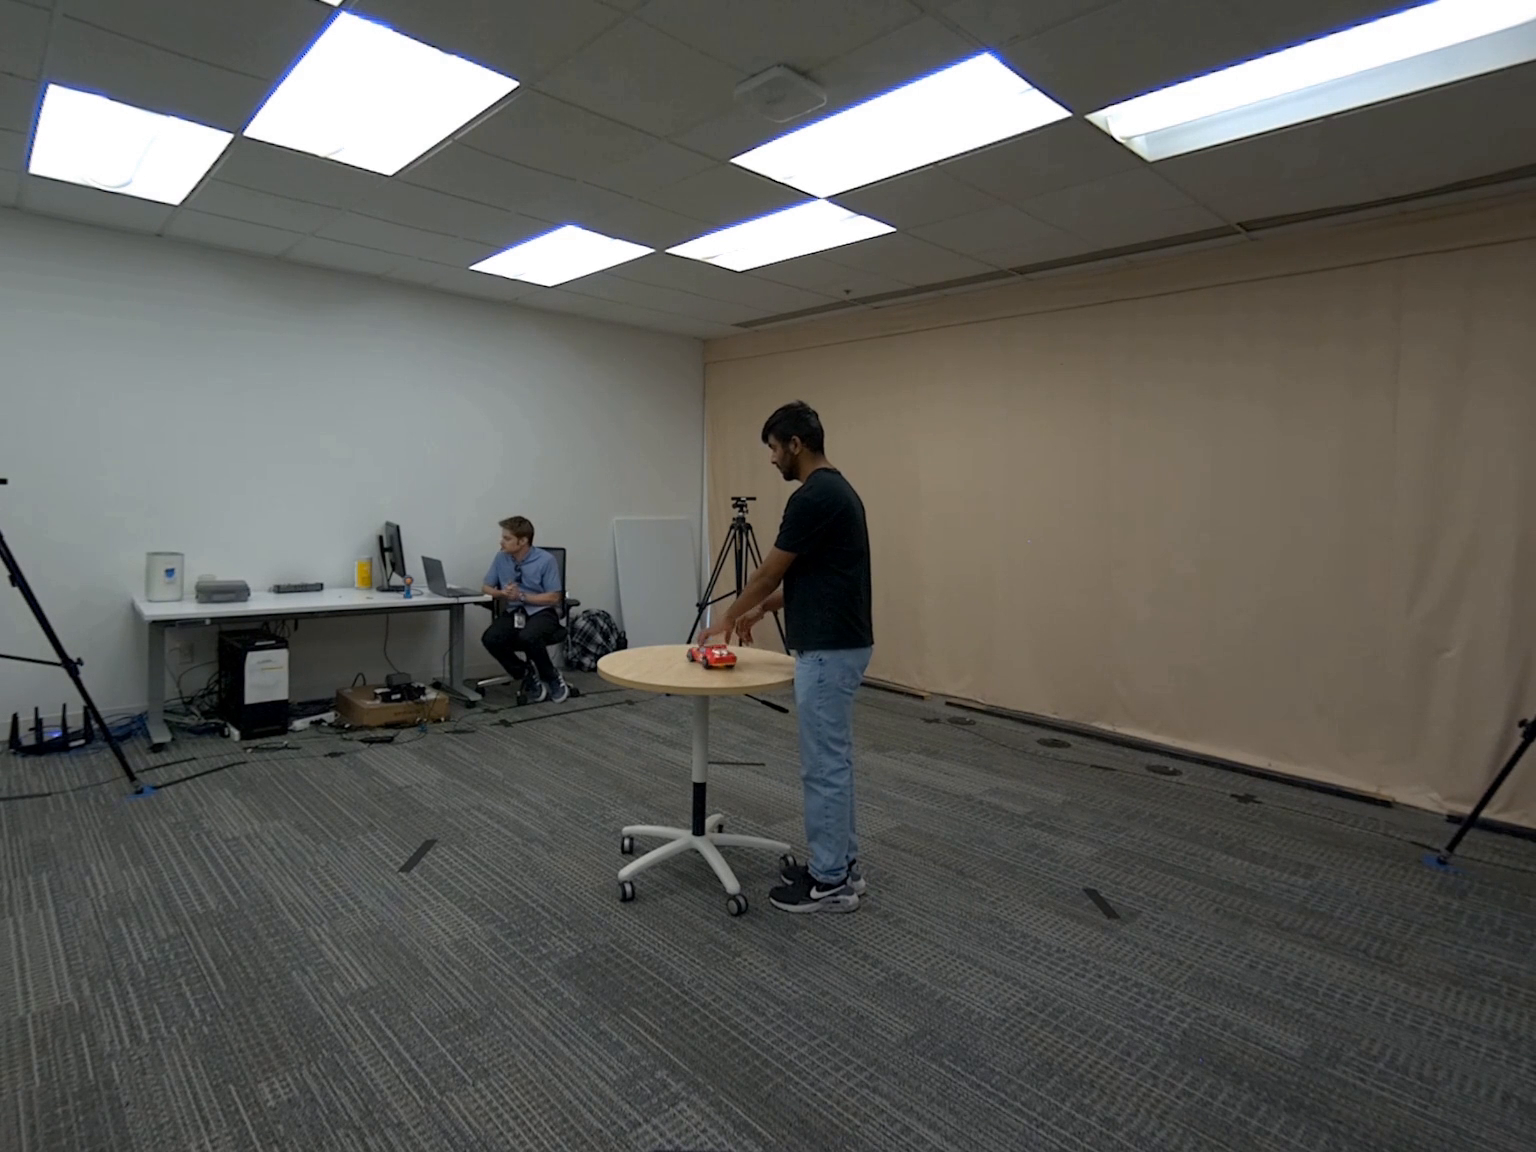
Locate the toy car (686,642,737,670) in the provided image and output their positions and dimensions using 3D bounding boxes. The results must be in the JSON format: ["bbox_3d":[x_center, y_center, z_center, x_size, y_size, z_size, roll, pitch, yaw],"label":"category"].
[{"bbox_3d":[-0.200,0.294,3.057,0.128,0.083,0.258,-1,-5,-26],"label":"toy car"}]
